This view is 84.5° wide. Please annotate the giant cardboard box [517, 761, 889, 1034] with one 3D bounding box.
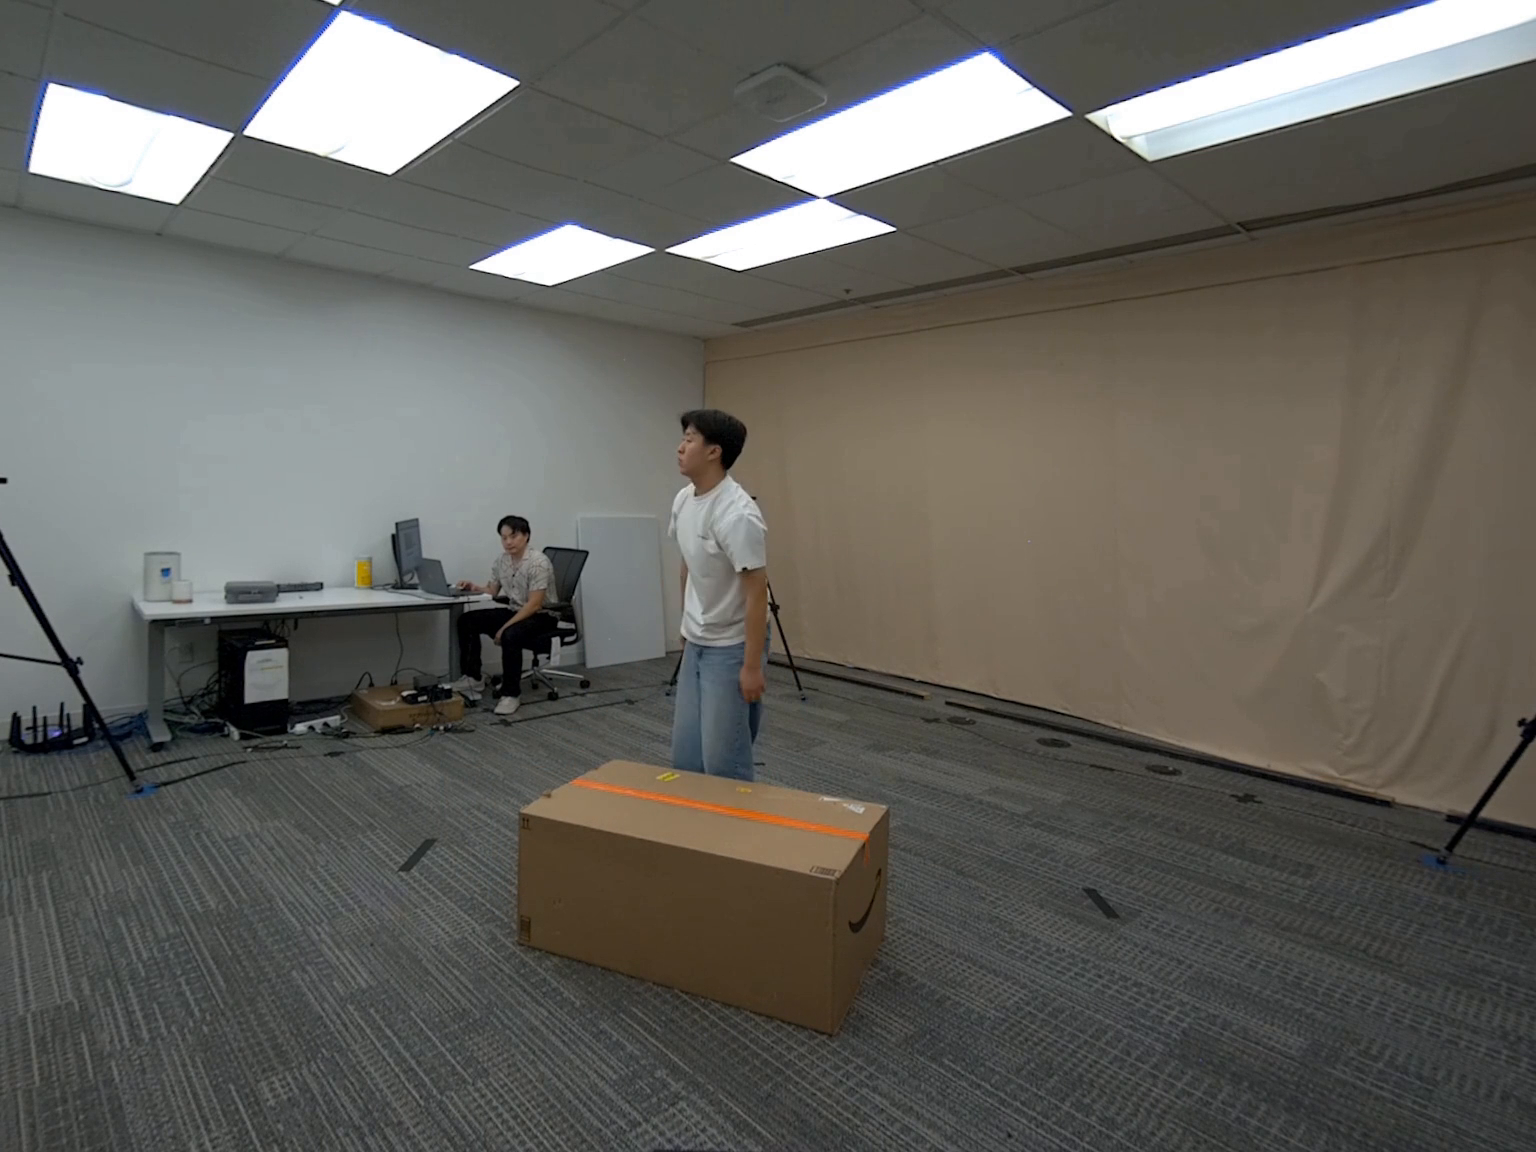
[{"bbox_3d":[-0.197,0.933,2.634,1.044,0.425,0.568,3,4,23],"label":"giant cardboard box"}]
